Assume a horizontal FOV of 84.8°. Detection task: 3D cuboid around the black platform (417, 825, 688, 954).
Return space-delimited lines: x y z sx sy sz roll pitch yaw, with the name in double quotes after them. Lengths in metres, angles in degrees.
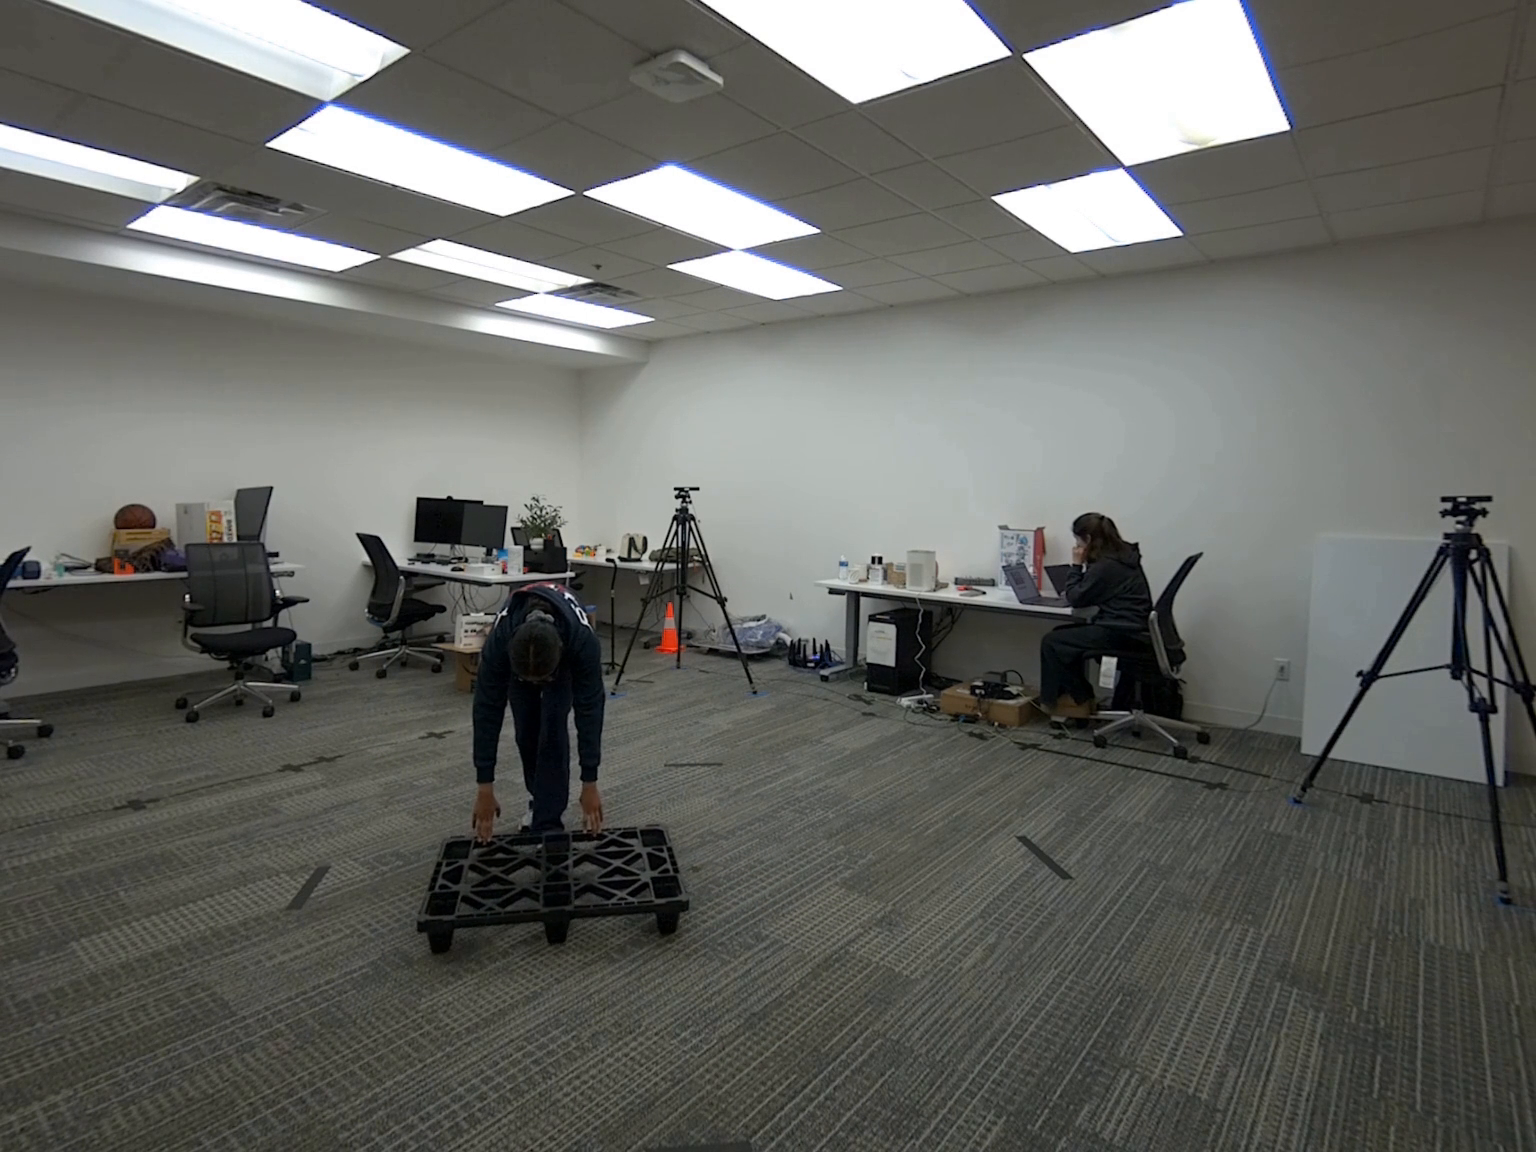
-0.707 1.019 2.810 0.796 0.143 0.614 0 5 -12 "black platform"
